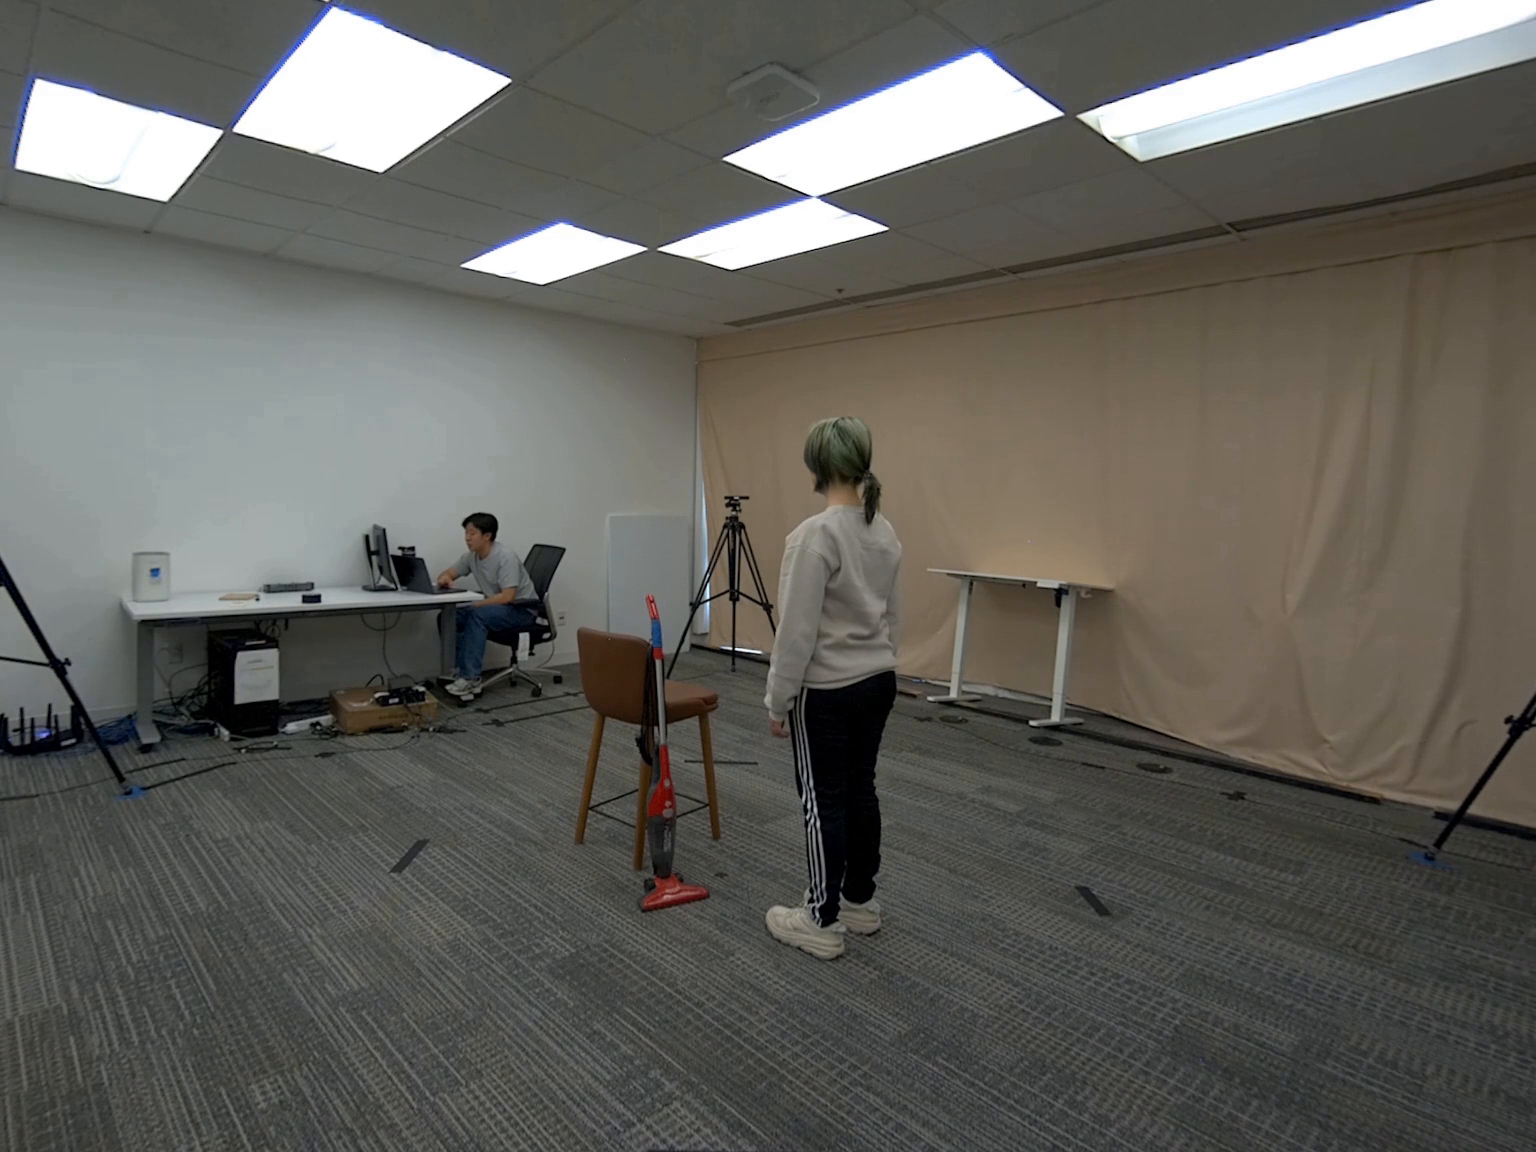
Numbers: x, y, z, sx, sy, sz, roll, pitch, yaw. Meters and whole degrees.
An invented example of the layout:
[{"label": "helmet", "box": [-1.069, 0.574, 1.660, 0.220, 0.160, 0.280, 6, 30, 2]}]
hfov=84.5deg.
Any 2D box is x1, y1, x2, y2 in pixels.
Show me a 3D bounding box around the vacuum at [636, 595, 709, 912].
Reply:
[{"label": "vacuum", "box": [-0.404, 0.603, 3.012, 0.247, 1.057, 0.146, -1, -10, -30]}]
